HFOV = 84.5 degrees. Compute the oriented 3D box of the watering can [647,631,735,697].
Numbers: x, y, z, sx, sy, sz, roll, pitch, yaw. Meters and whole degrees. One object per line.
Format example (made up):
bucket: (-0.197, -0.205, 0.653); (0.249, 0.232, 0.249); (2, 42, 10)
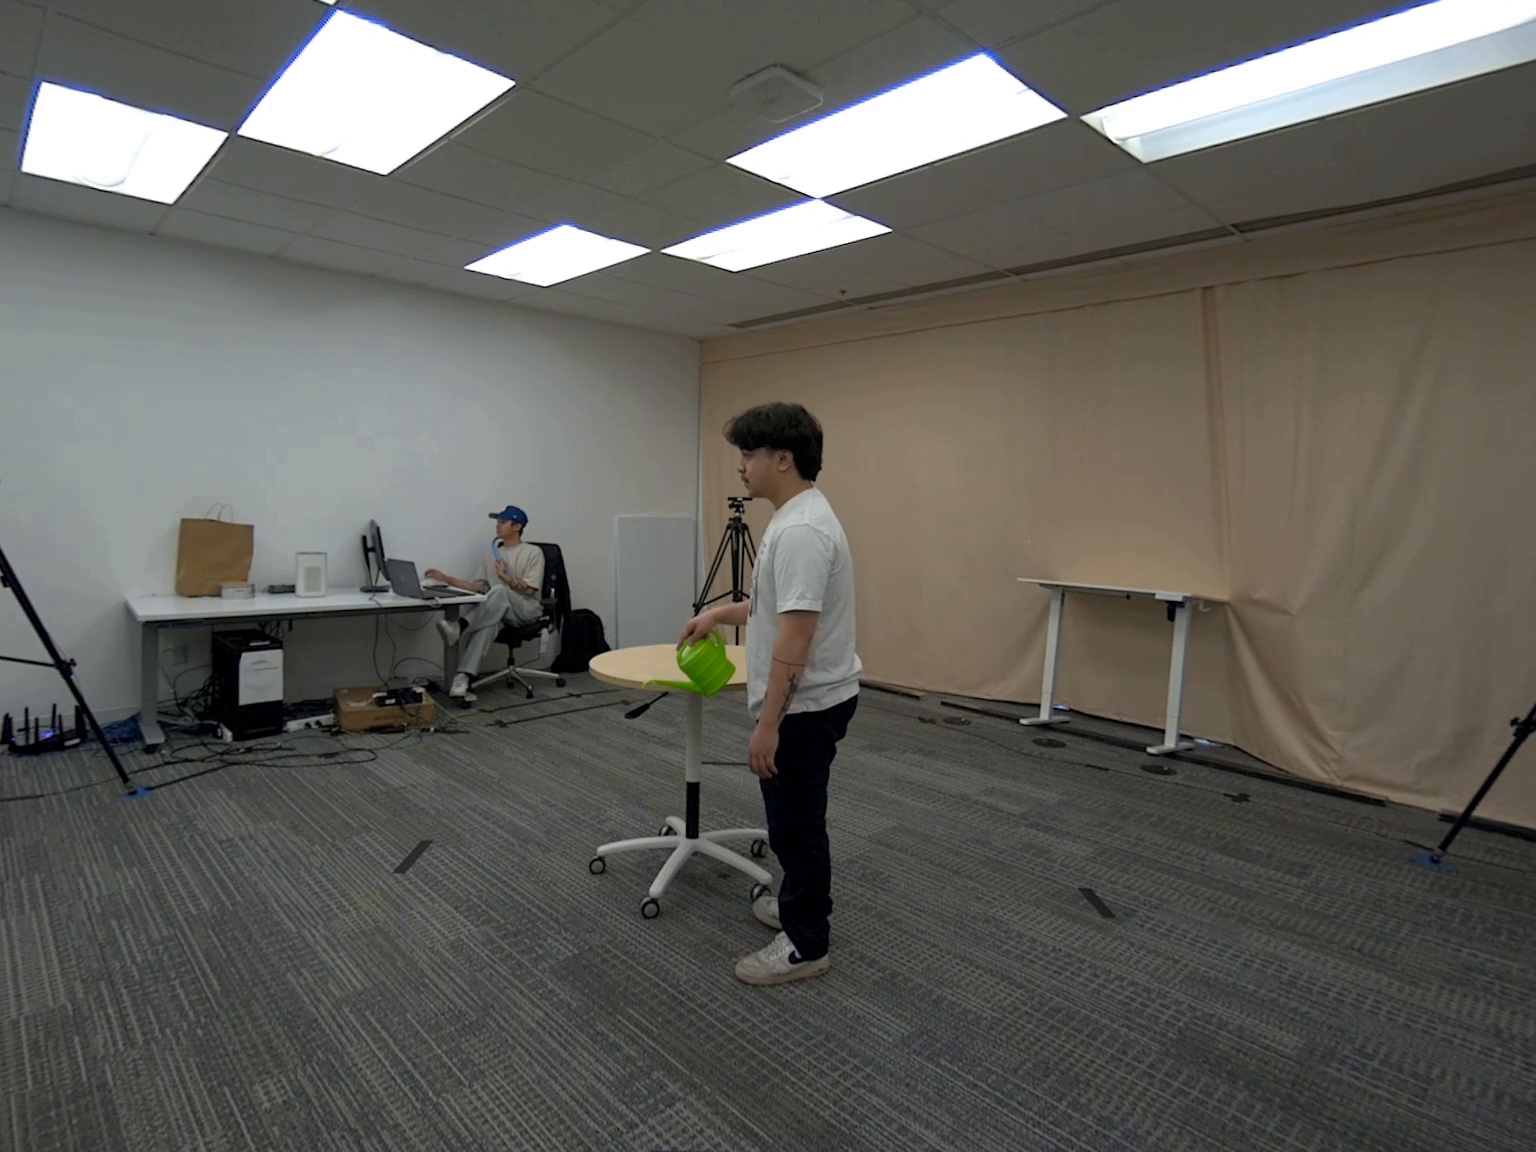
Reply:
watering can: (-0.232, 0.293, 2.568); (0.278, 0.175, 0.099); (-41, 9, -4)
